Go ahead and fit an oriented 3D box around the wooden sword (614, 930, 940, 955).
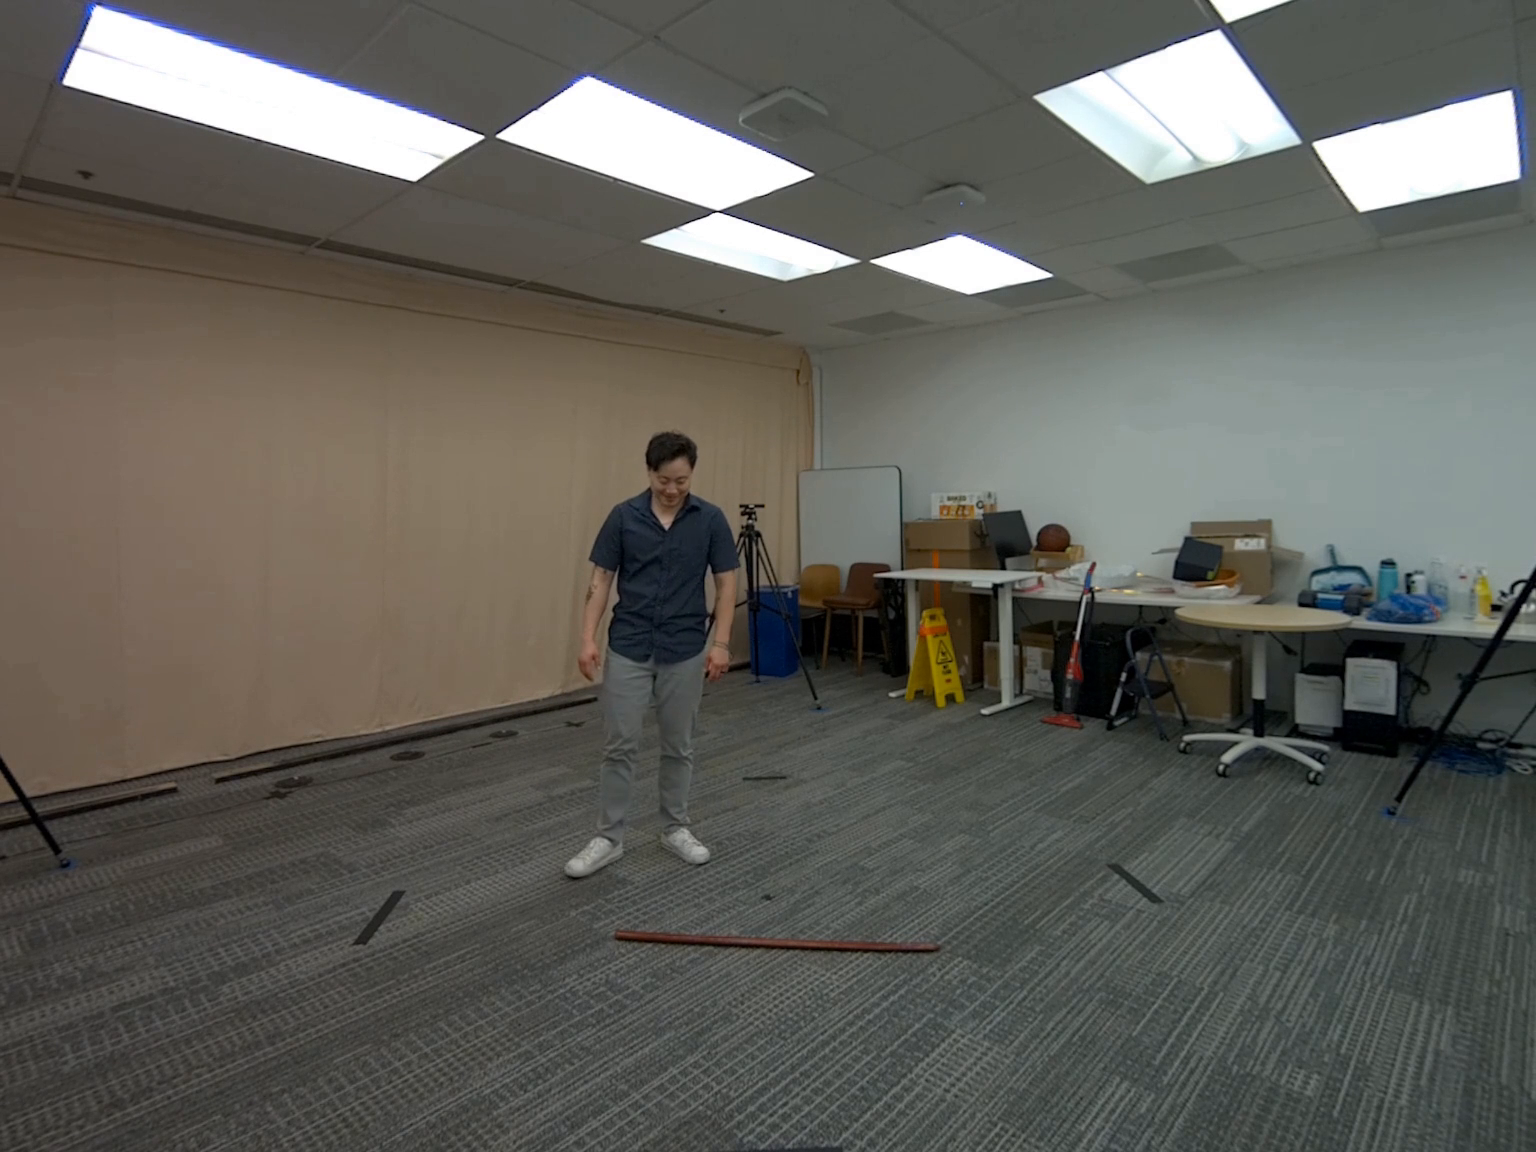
[{"bbox_3d":[0.032,1.146,2.659,1.031,0.024,0.051,0,3,6],"label":"wooden sword"}]
